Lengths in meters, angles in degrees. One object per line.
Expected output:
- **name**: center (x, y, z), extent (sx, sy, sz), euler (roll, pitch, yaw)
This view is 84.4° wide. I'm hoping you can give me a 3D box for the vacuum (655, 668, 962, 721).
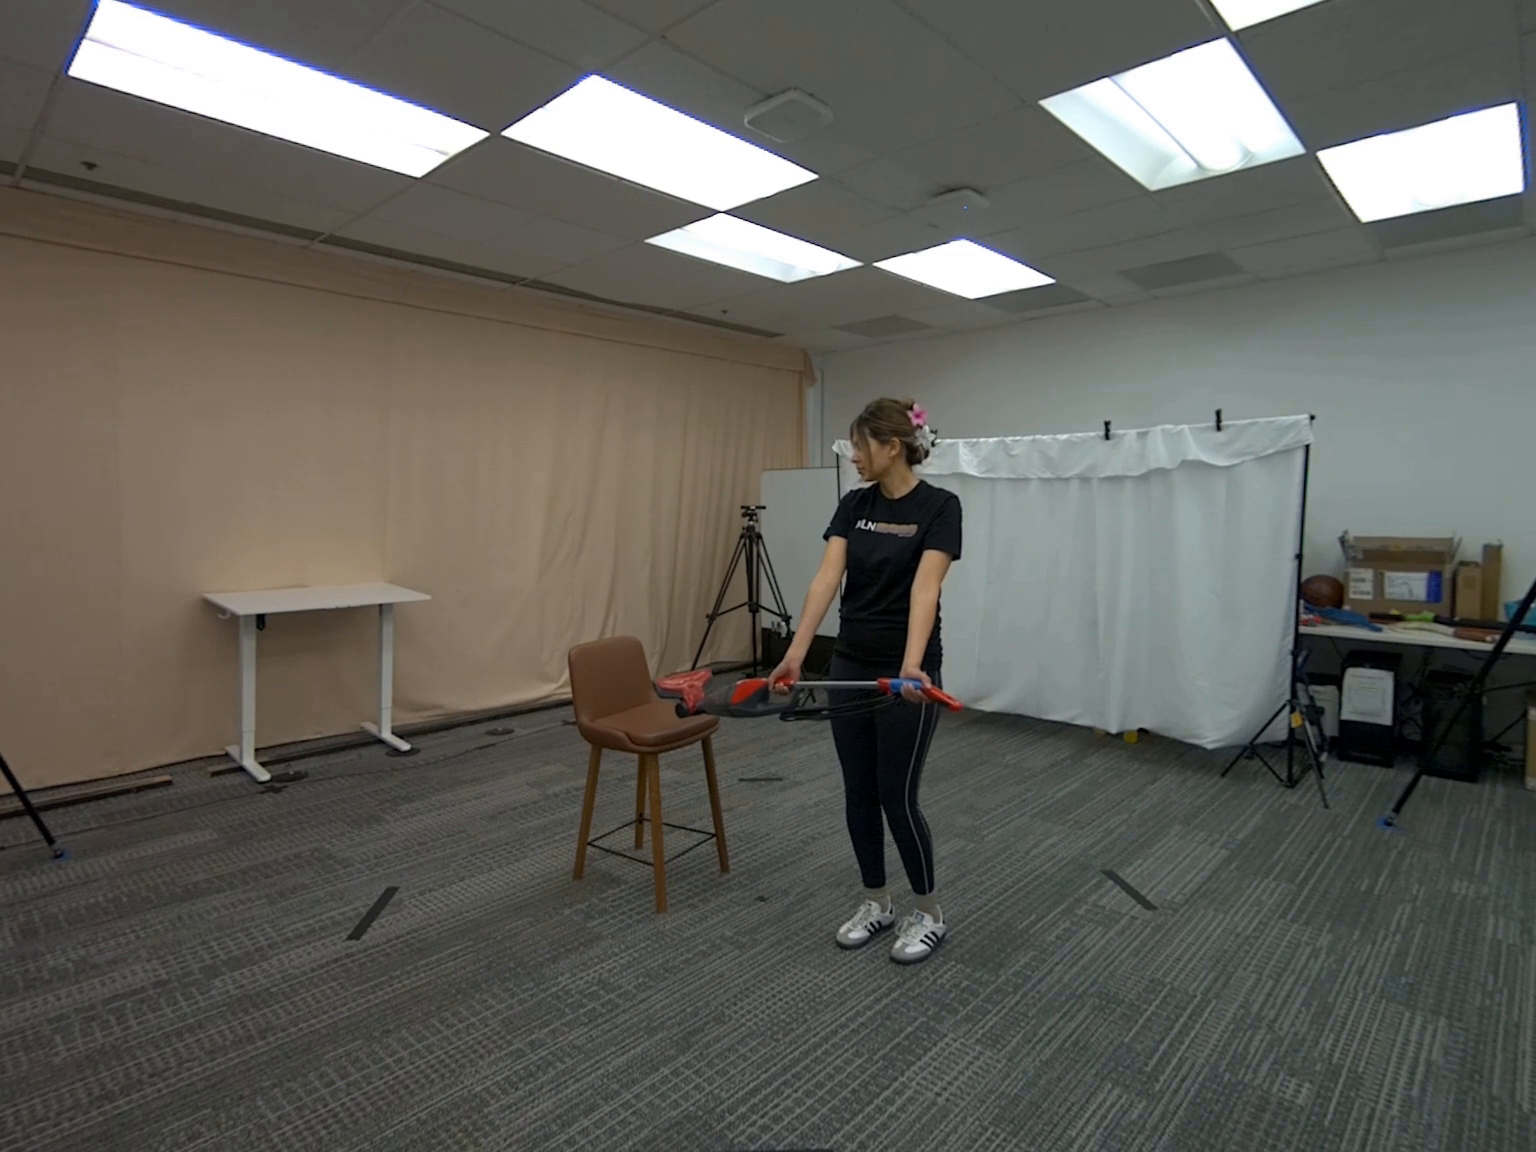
- **vacuum**: center (0.090, 0.380, 2.483), extent (0.245, 0.144, 1.081), euler (-8, 1, -43)
